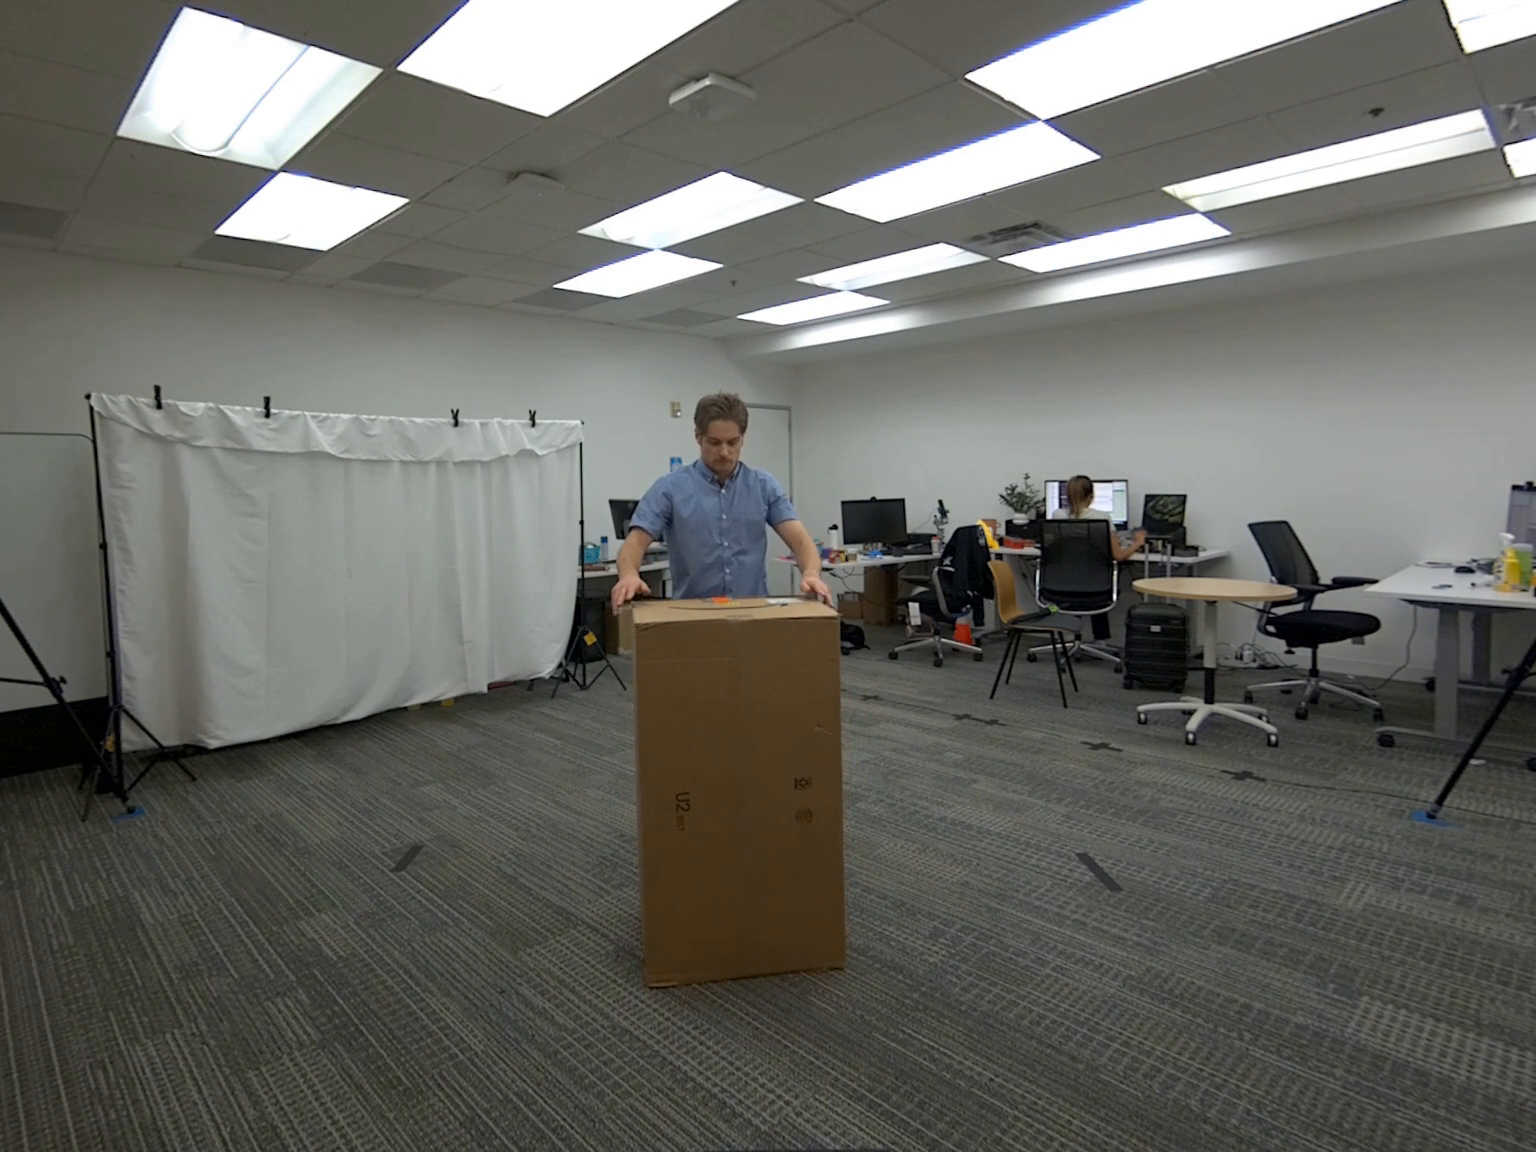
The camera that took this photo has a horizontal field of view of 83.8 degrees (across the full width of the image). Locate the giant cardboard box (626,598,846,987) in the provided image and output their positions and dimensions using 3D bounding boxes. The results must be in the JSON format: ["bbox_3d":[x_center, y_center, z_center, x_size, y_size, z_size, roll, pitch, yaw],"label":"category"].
[{"bbox_3d":[-0.112,0.601,2.573,0.580,1.023,0.451,-2,4,-7],"label":"giant cardboard box"}]
